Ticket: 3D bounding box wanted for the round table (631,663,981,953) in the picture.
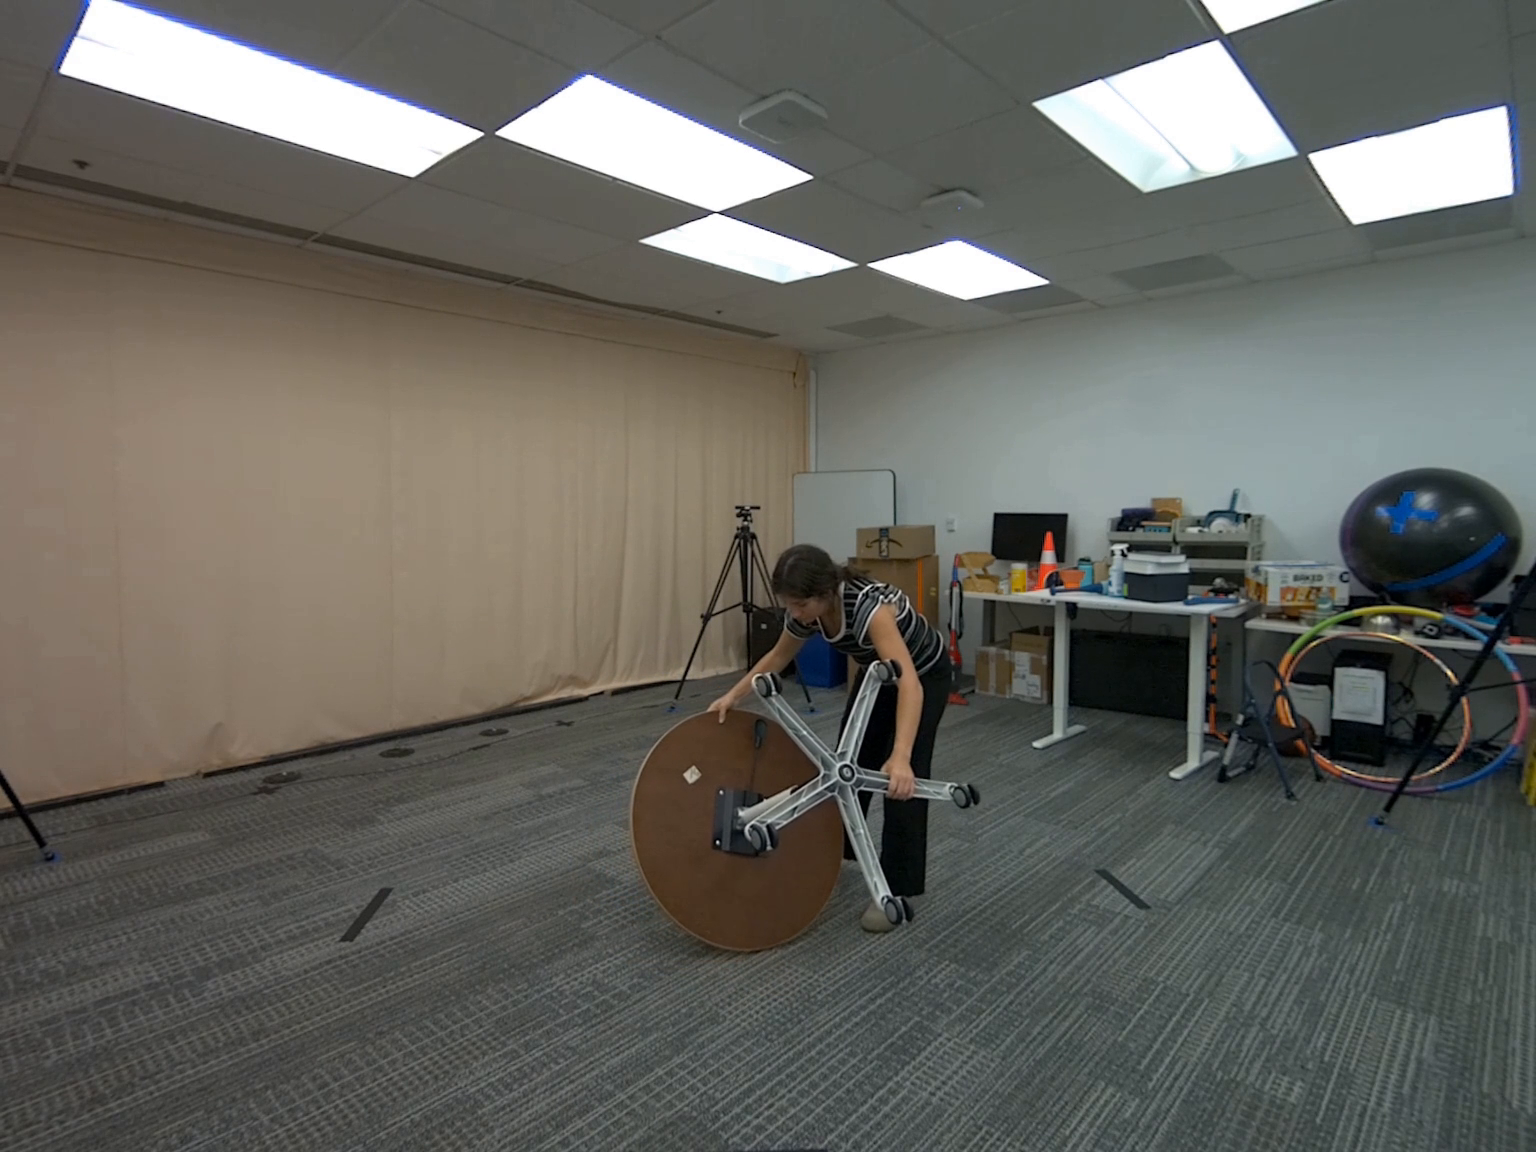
[{"bbox_3d":[0.078,0.662,2.487,0.745,0.778,0.799,-2,-25,-27],"label":"round table"}]
